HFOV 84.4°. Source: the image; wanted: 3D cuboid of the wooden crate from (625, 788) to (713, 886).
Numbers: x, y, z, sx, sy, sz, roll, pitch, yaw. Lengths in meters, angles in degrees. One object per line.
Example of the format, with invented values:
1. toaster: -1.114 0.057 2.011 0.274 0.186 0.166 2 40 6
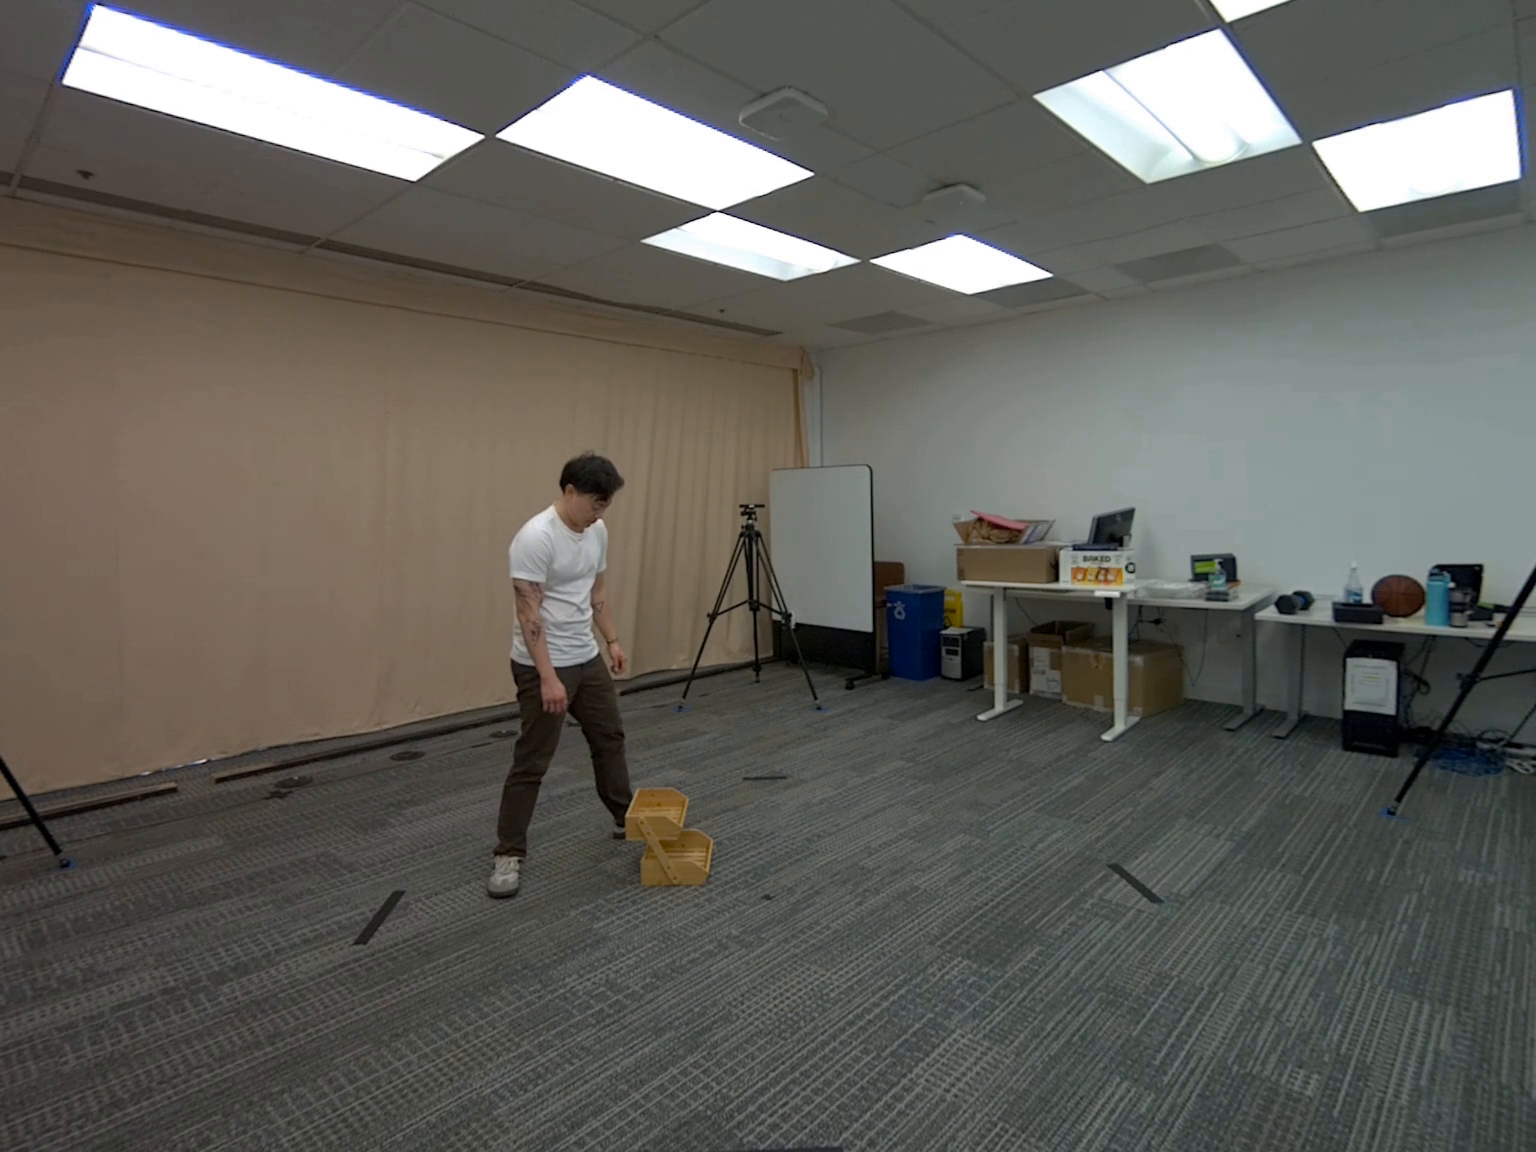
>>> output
1. wooden crate: -0.372 0.991 3.239 0.303 0.272 0.325 -2 4 1
